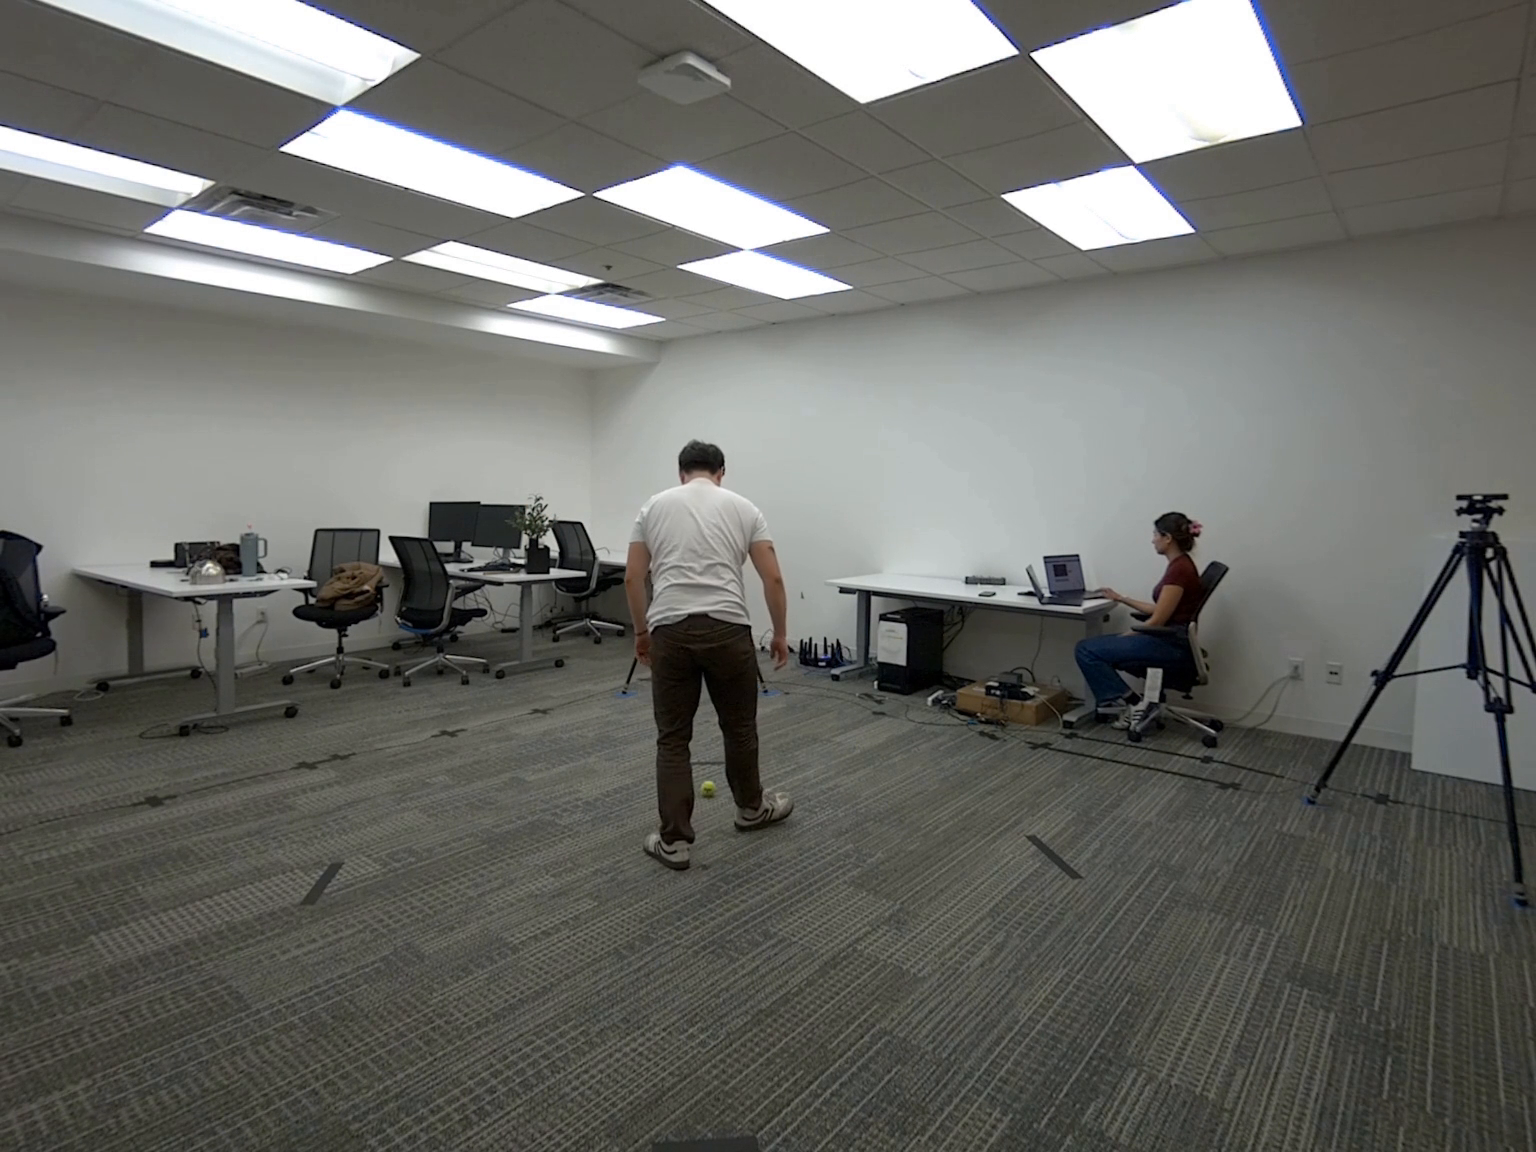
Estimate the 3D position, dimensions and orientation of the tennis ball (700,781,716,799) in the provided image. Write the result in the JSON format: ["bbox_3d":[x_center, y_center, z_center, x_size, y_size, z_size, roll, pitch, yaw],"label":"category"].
[{"bbox_3d":[-0.280,0.945,3.851,0.066,0.066,0.067,1,4,-2],"label":"tennis ball"}]
